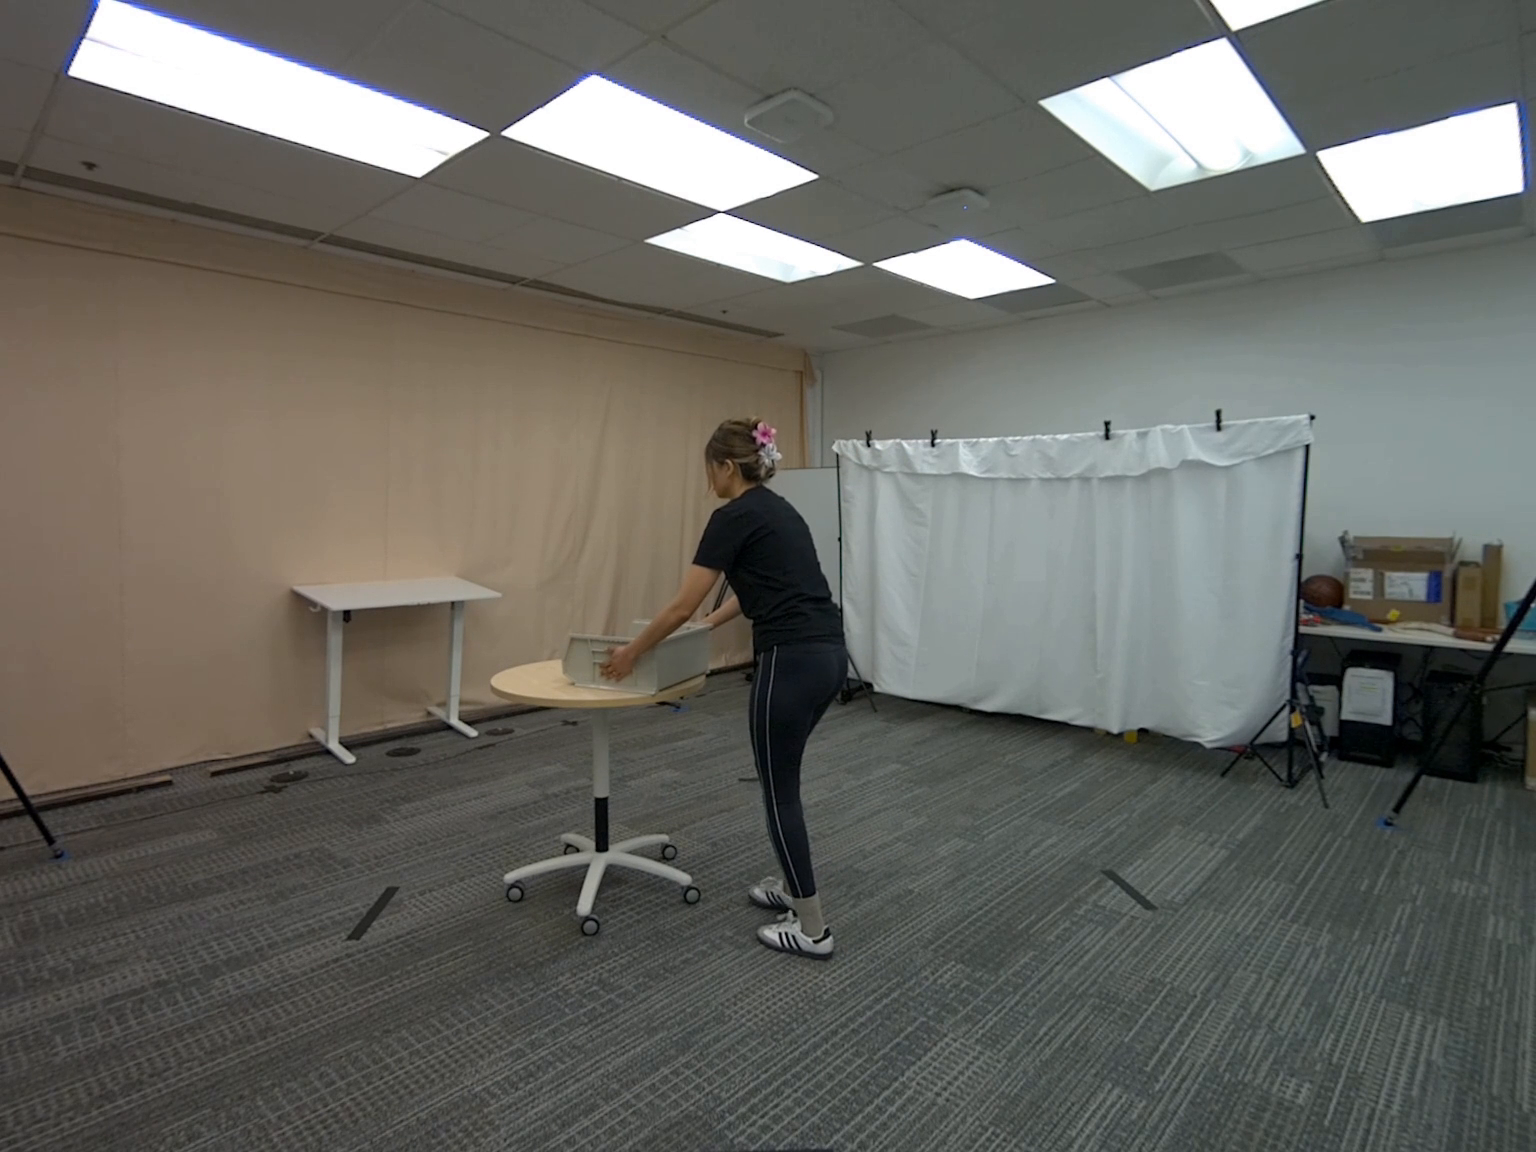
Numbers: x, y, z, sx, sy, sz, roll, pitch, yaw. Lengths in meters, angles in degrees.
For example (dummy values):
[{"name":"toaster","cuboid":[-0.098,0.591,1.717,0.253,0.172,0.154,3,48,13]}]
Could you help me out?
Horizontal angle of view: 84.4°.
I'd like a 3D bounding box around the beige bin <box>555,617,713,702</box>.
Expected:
[{"name":"beige bin","cuboid":[-0.464,0.279,2.977,0.387,0.188,0.413,4,5,24]}]
